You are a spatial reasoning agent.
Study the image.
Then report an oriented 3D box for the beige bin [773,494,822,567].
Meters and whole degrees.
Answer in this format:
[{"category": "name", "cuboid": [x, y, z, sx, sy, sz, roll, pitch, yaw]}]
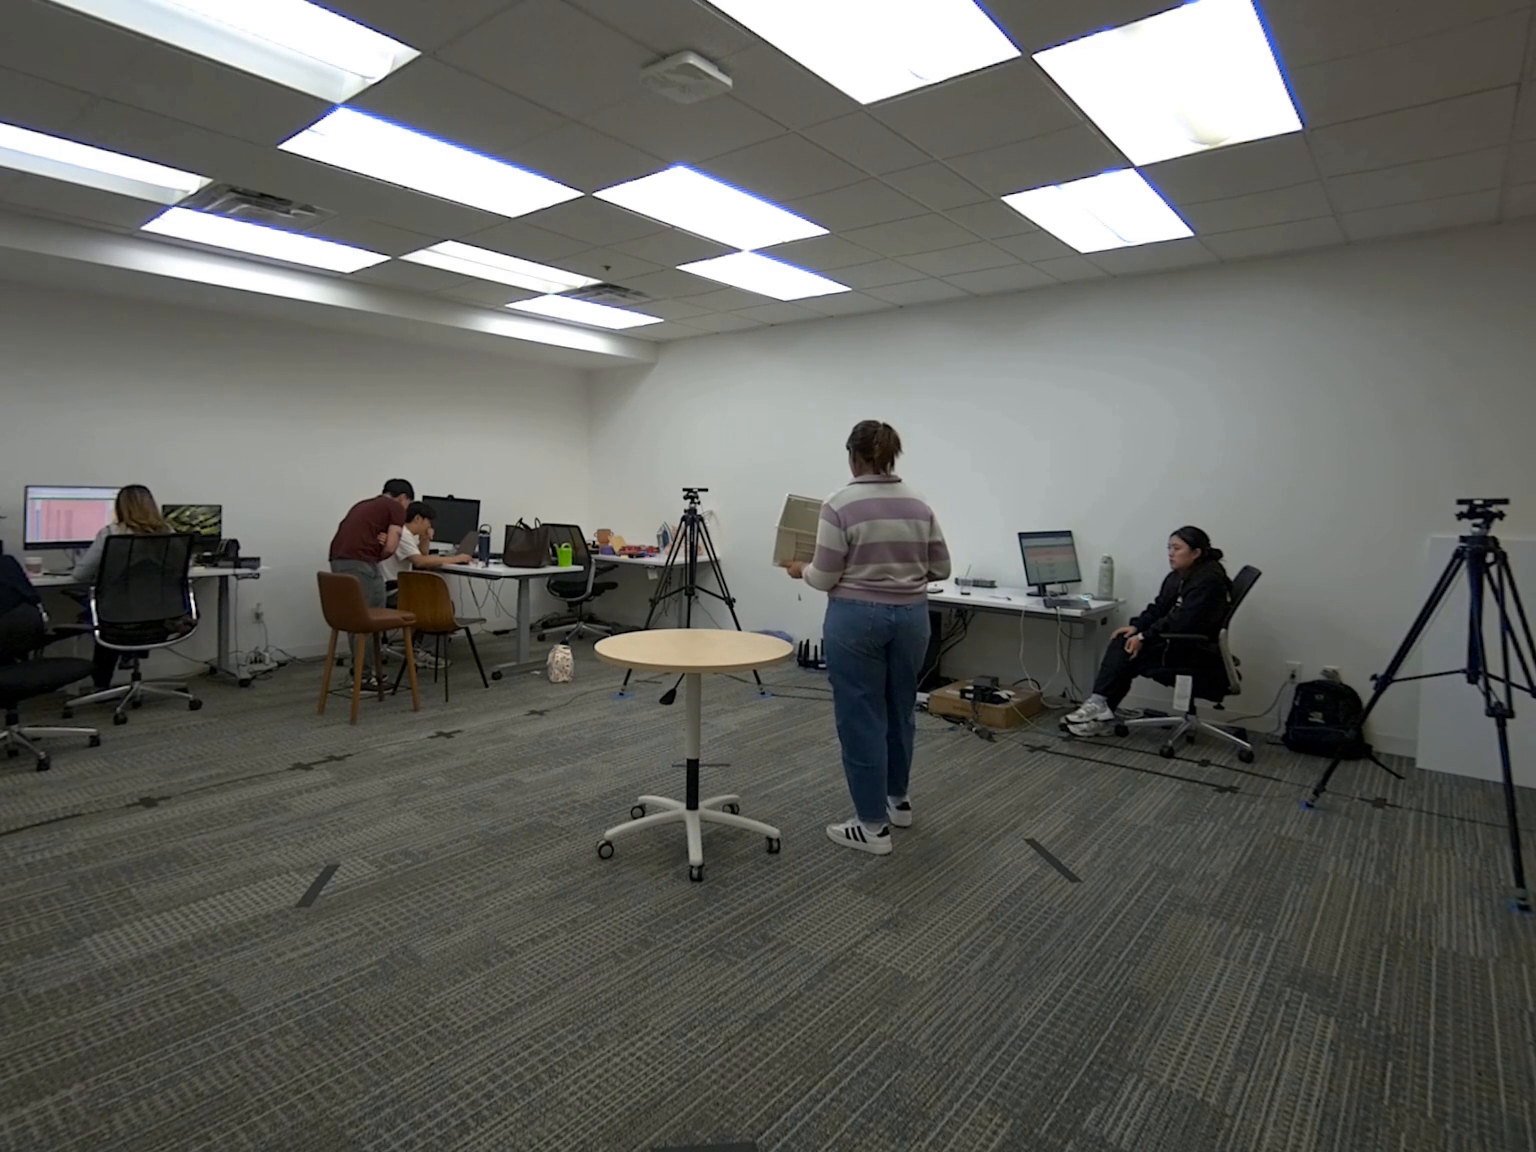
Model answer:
[{"category": "beige bin", "cuboid": [0.223, -0.174, 3.686, 0.380, 0.185, 0.427, 9, 25, 5]}]
